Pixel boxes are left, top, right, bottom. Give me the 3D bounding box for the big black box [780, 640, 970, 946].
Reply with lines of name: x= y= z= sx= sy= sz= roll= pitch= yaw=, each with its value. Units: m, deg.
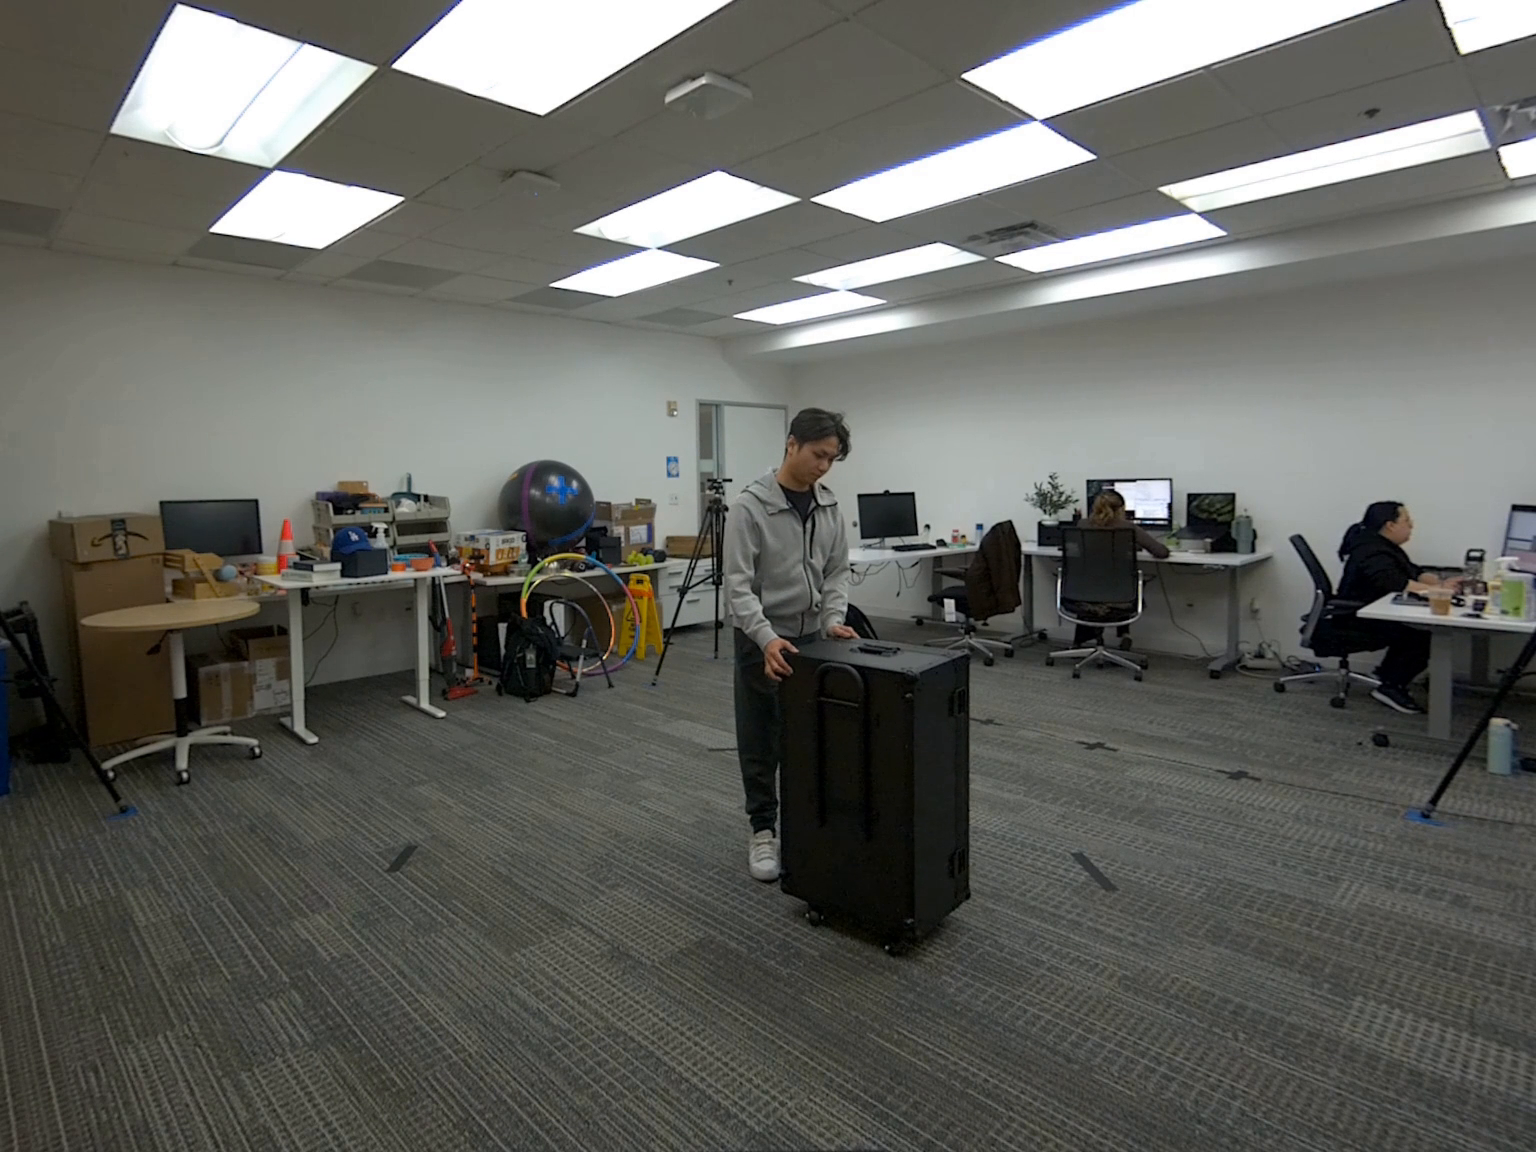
big black box: x=0.342 y=0.667 z=2.673 sx=0.537 sy=0.858 sz=0.386 roll=3 pitch=6 yaw=41
